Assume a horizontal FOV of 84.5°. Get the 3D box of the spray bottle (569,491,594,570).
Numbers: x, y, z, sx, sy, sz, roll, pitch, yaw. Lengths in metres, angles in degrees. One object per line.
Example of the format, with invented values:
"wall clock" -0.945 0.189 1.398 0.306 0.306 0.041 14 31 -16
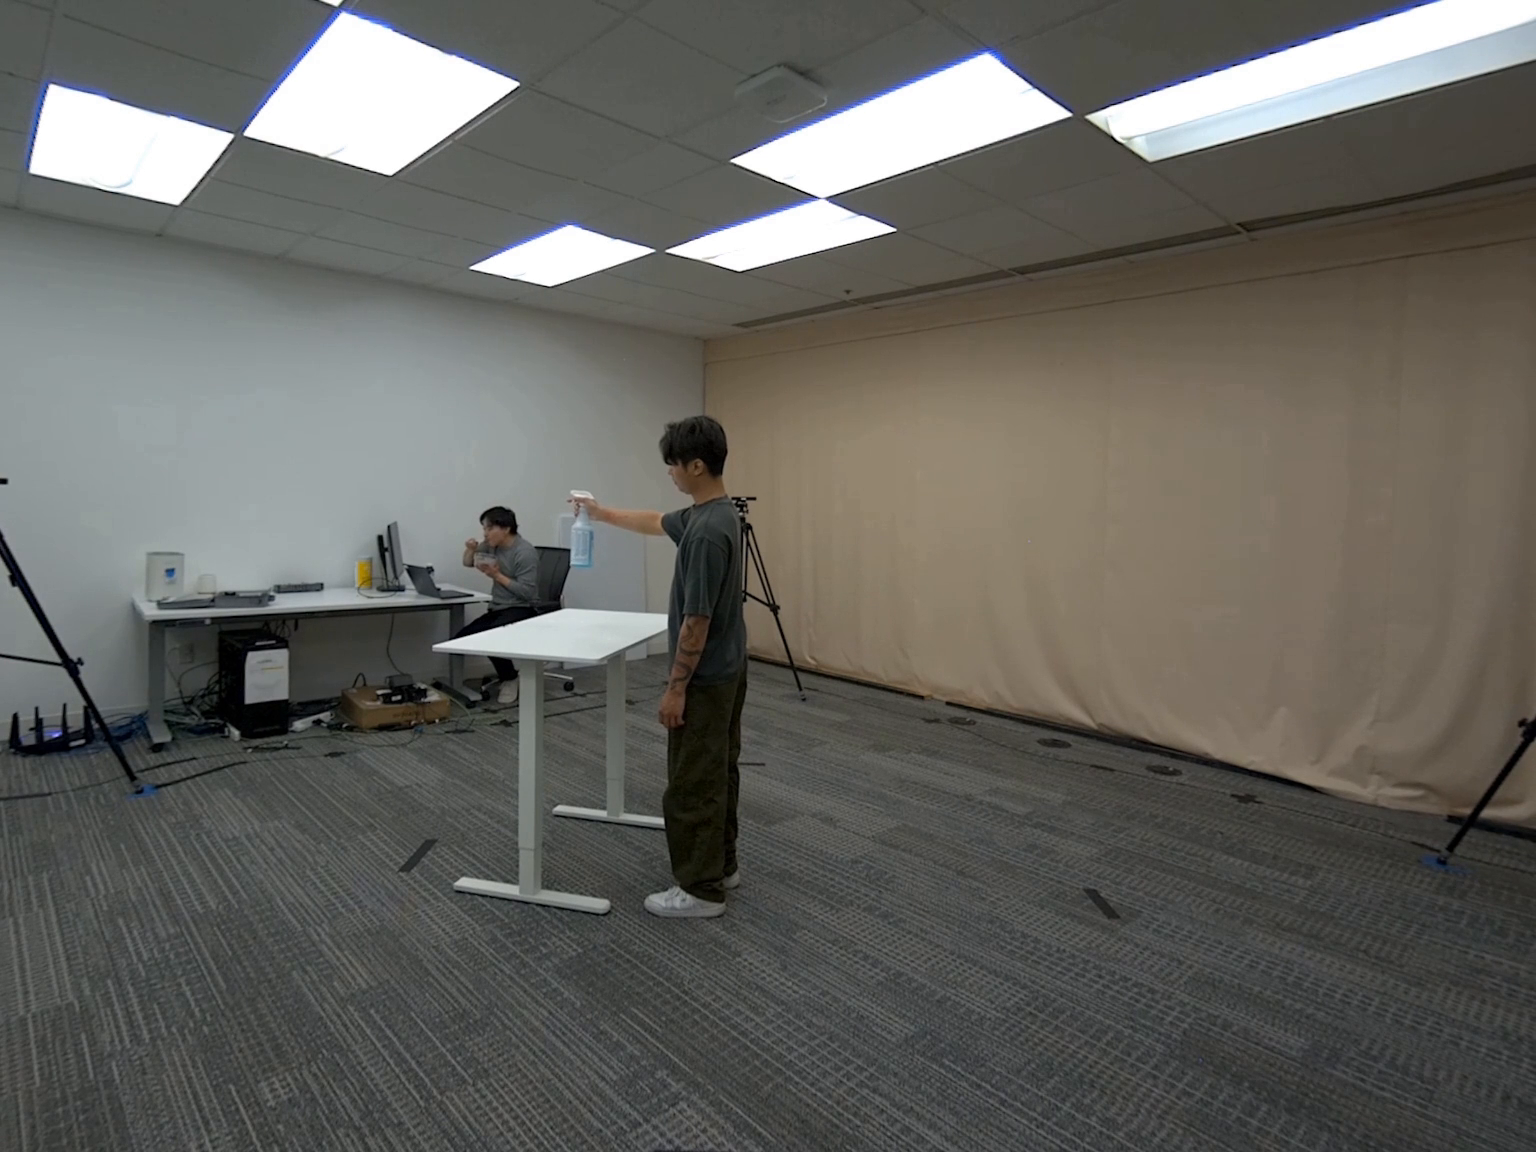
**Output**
"spray bottle" -0.720 -0.177 3.256 0.092 0.297 0.085 4 2 29
